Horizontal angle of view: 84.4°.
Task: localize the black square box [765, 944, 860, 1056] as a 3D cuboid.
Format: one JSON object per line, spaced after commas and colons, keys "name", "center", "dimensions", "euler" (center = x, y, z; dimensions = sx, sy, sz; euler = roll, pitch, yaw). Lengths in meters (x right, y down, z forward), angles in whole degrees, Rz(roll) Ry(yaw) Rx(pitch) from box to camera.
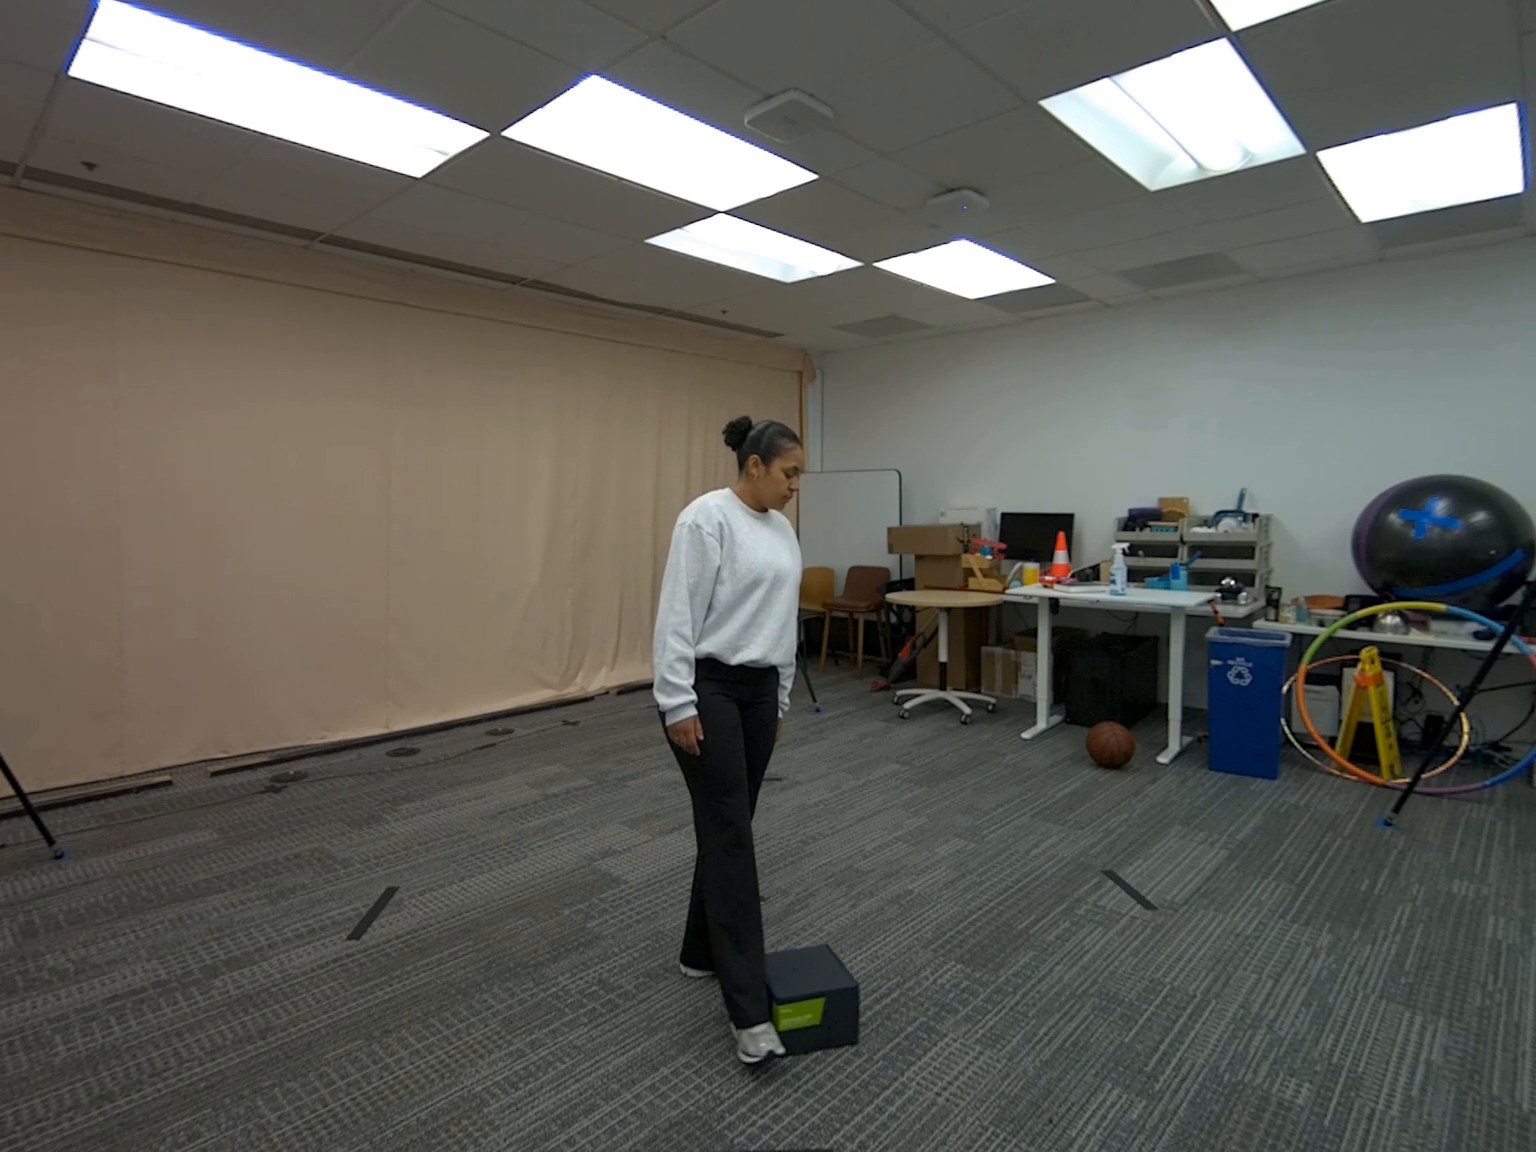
{"name": "black square box", "center": [0.106, 1.126, 2.237], "dimensions": [0.224, 0.155, 0.221], "euler": [-1, 4, -18]}
